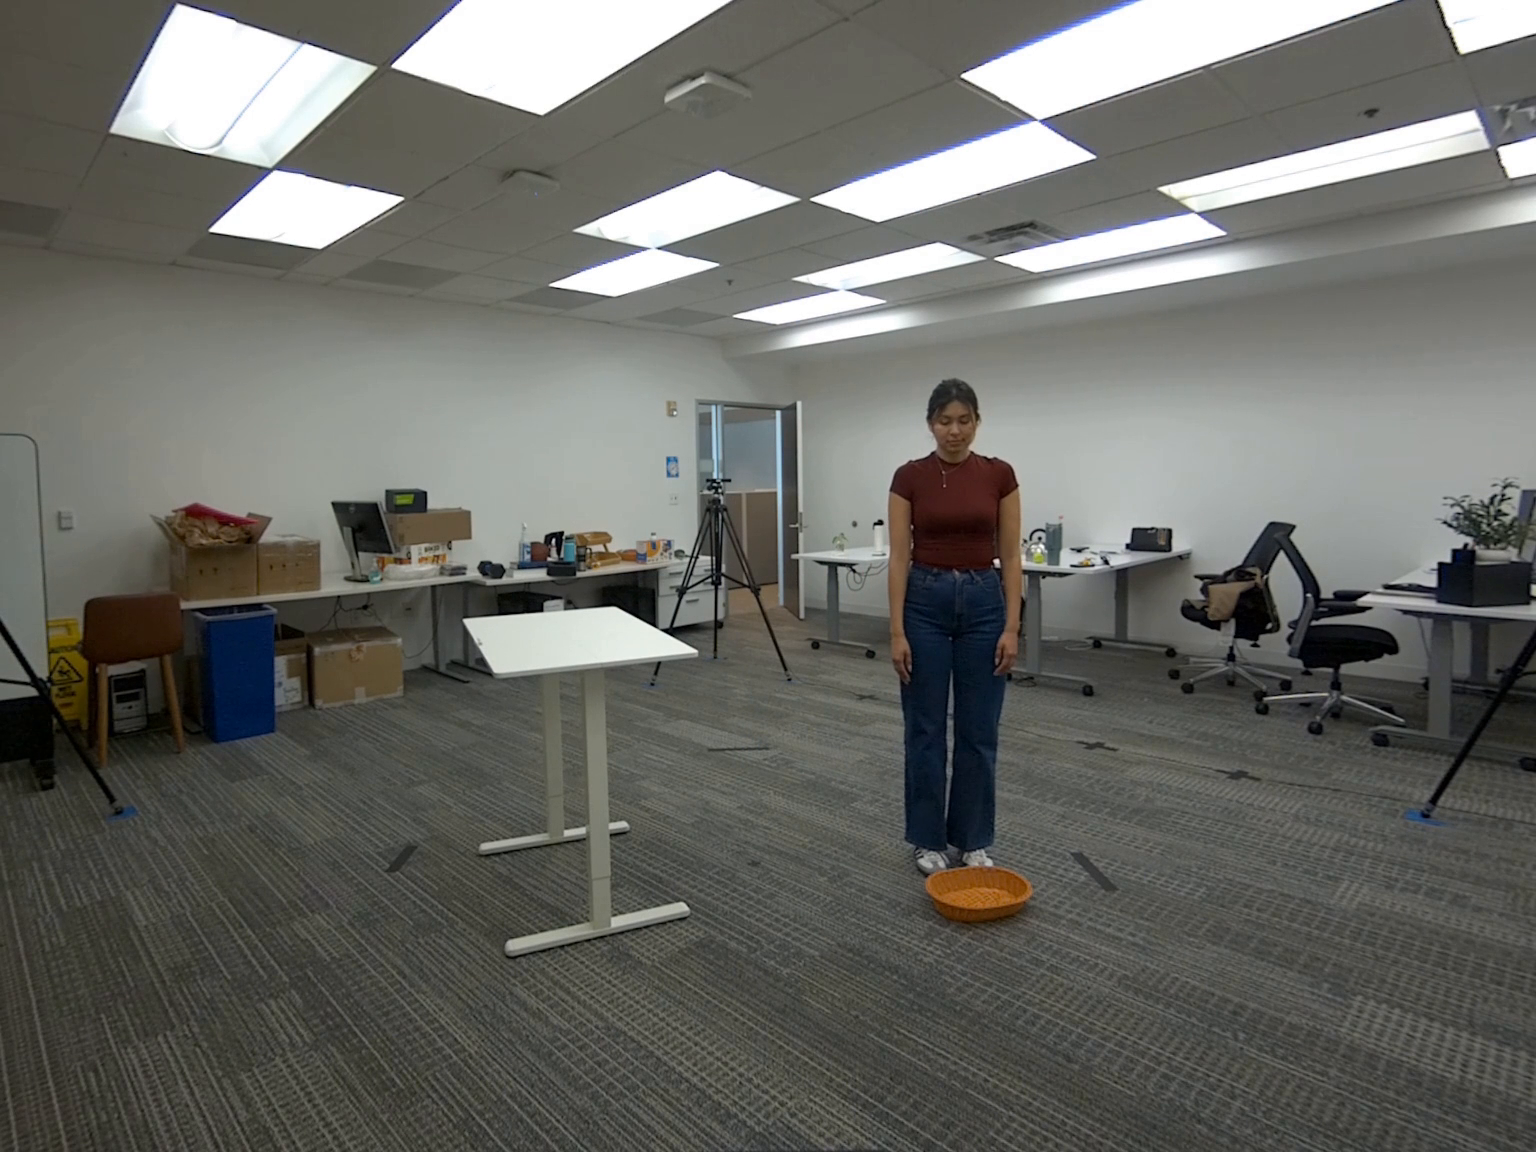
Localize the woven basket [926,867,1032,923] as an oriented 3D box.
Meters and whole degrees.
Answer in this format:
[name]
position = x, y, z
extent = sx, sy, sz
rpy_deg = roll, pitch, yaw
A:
[woven basket]
position = 0.679, 1.037, 2.763
extent = 0.346, 0.073, 0.257
rpy_deg = -3, 7, -15
